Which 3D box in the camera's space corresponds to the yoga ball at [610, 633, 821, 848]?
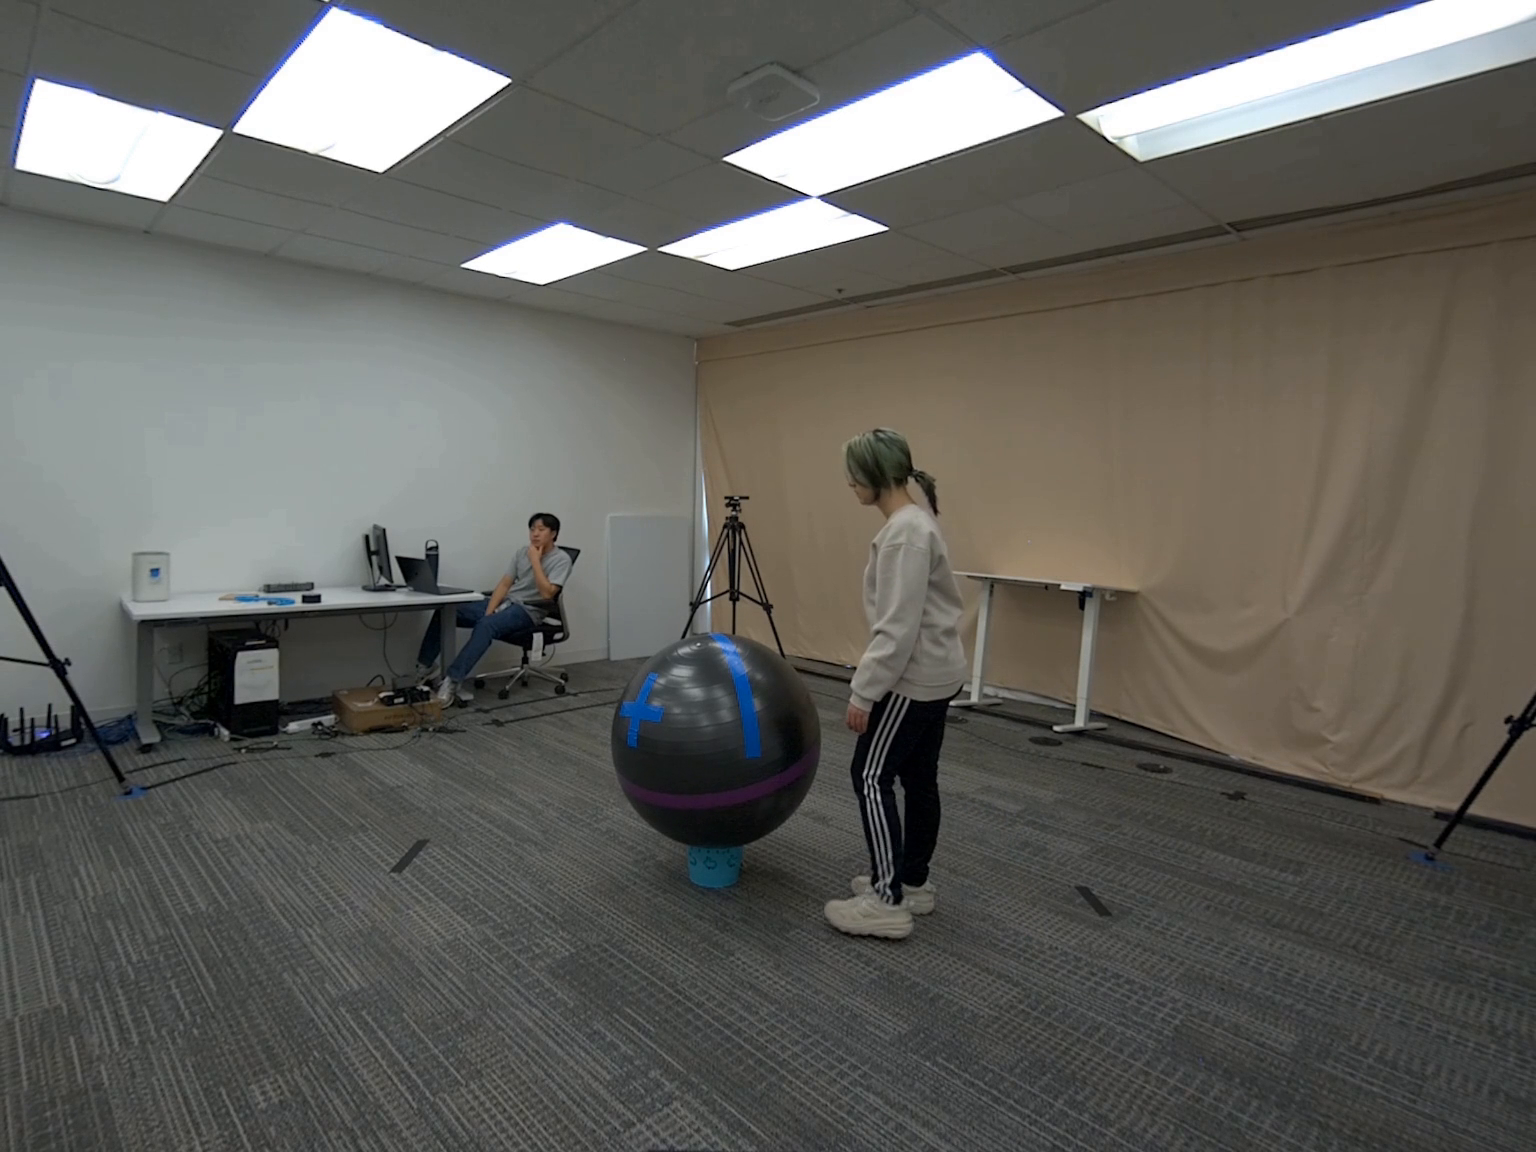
[{"bbox_3d":[-0.190,0.589,3.059,0.757,0.756,0.761,1,4,-1],"label":"yoga ball"}]
